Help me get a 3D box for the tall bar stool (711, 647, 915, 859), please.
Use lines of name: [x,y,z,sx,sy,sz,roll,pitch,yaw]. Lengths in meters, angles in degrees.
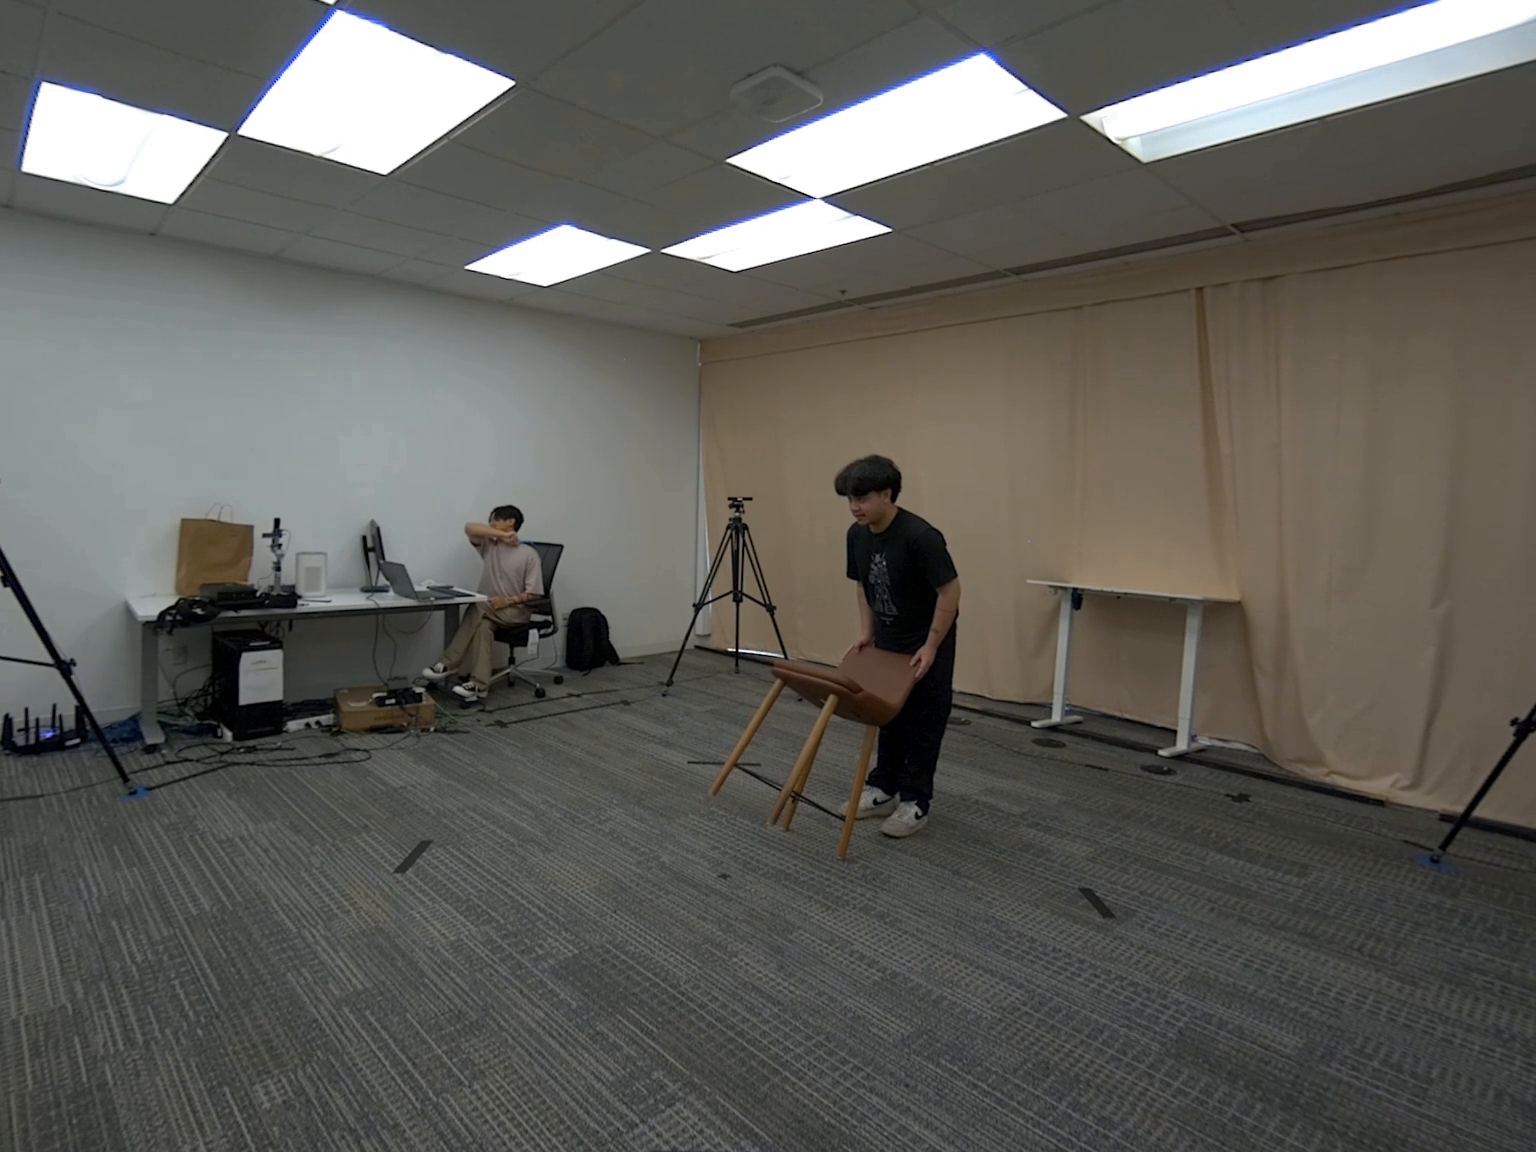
tall bar stool: [0.214,0.605,3.416,0.454,0.894,0.467,37,-19,-32]
